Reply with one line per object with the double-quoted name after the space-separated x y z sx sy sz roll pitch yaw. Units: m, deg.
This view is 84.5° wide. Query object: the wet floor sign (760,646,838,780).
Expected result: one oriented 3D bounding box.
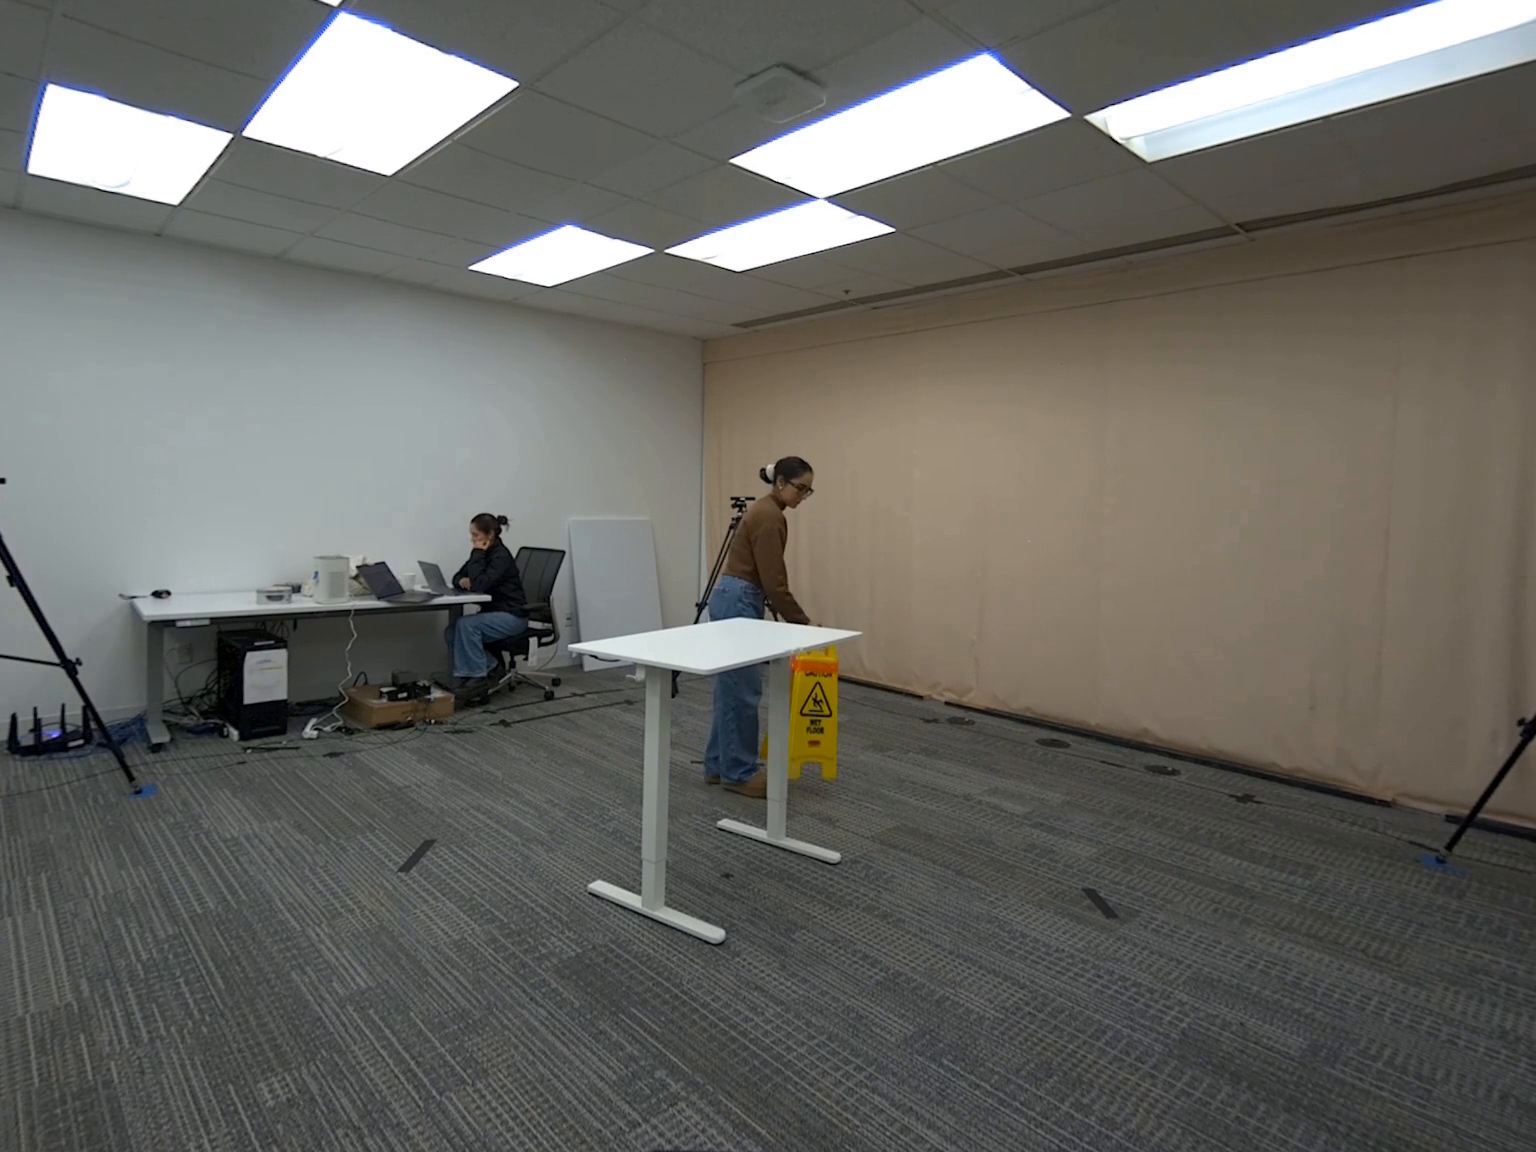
0.185 0.595 3.975 0.276 0.644 0.296 8 4 -27 "wet floor sign"
